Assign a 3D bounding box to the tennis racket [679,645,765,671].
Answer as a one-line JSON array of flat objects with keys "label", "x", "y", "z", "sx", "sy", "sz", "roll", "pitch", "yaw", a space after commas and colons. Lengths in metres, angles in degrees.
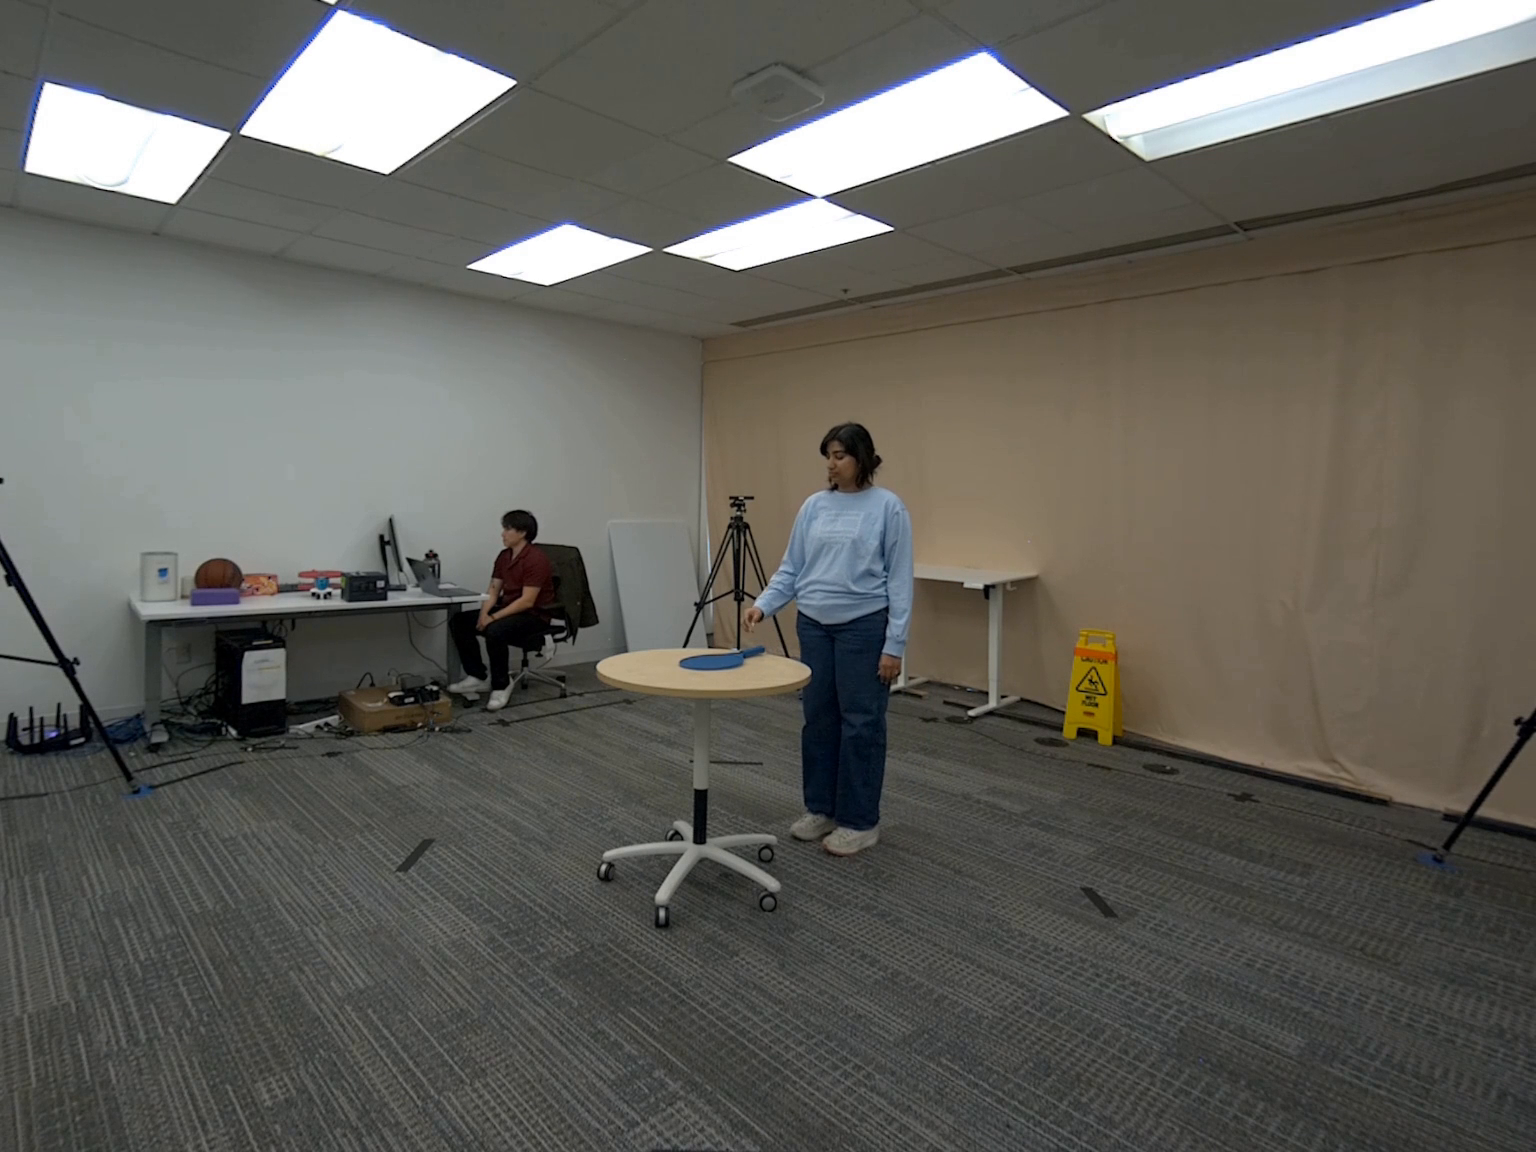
[{"label": "tennis racket", "x": -0.162, "y": 0.314, "z": 3.127, "sx": 0.219, "sy": 0.031, "sz": 0.424, "roll": 6, "pitch": 8, "yaw": 39}]
